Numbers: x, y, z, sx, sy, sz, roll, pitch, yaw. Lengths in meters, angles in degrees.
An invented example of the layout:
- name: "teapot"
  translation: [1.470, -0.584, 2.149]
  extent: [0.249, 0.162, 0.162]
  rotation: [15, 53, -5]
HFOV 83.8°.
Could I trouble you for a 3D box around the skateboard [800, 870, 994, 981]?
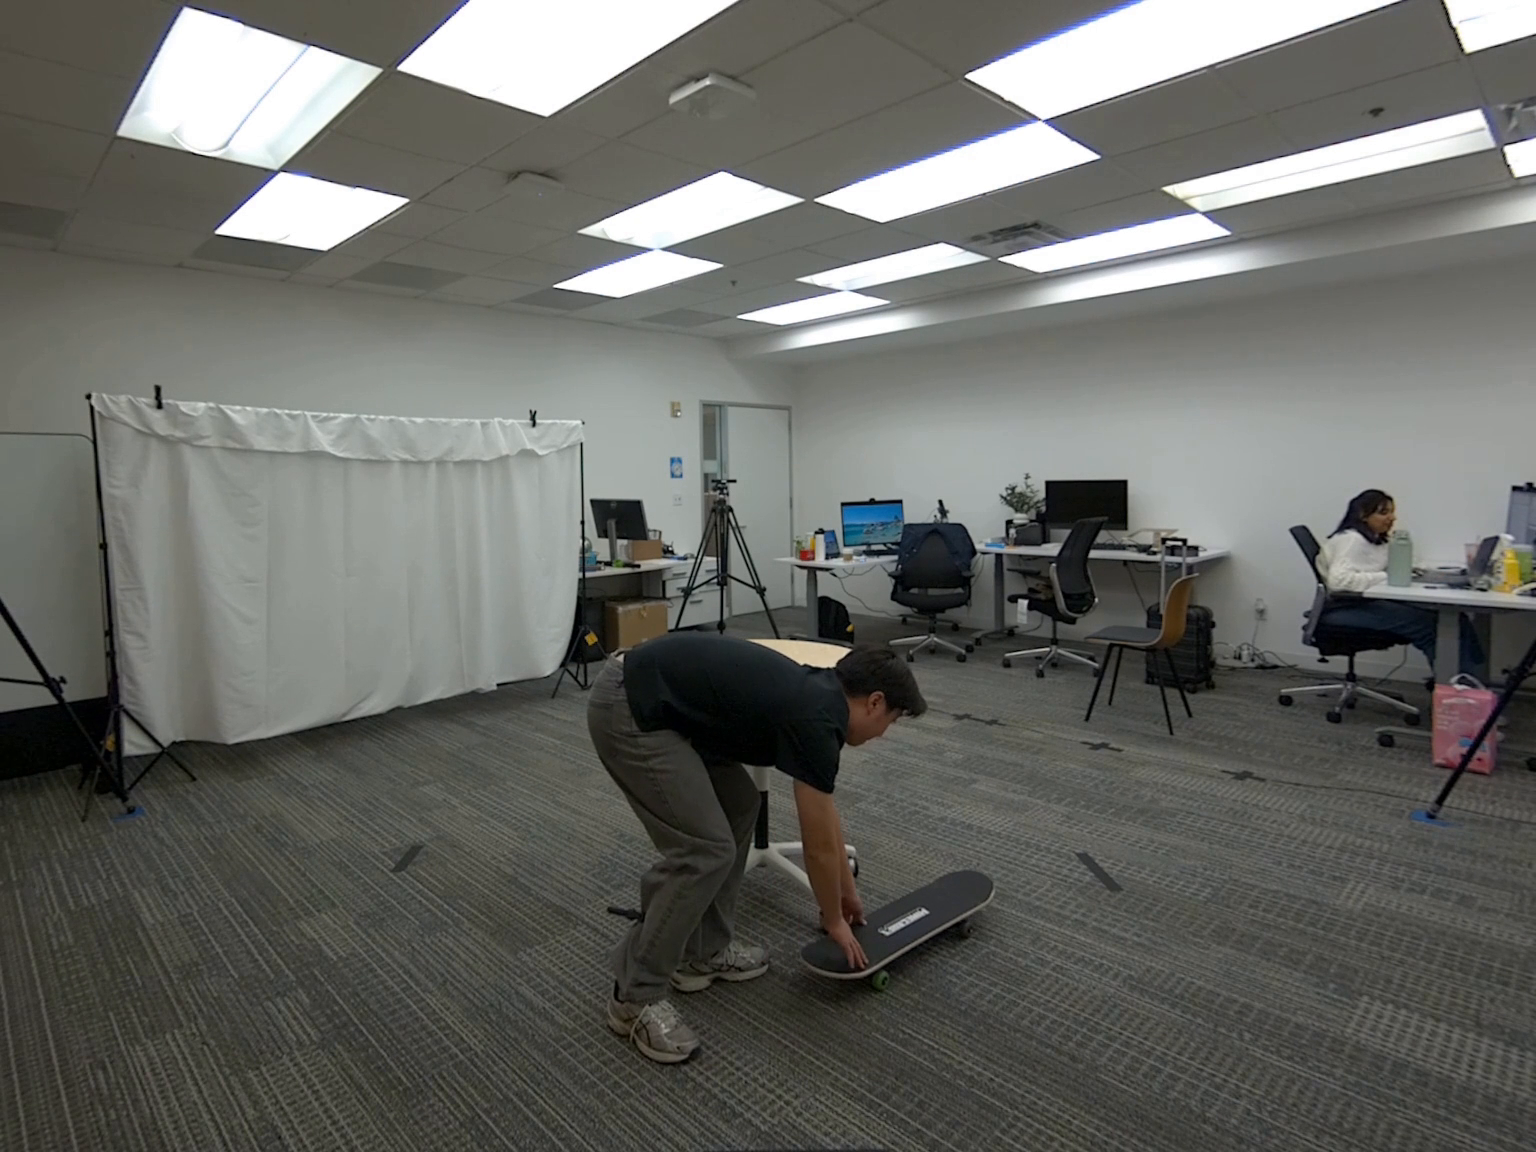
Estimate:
- name: "skateboard"
  translation: [0.406, 1.051, 2.517]
  extent: [0.765, 0.110, 0.199]
  rotation: [-7, 7, -40]
